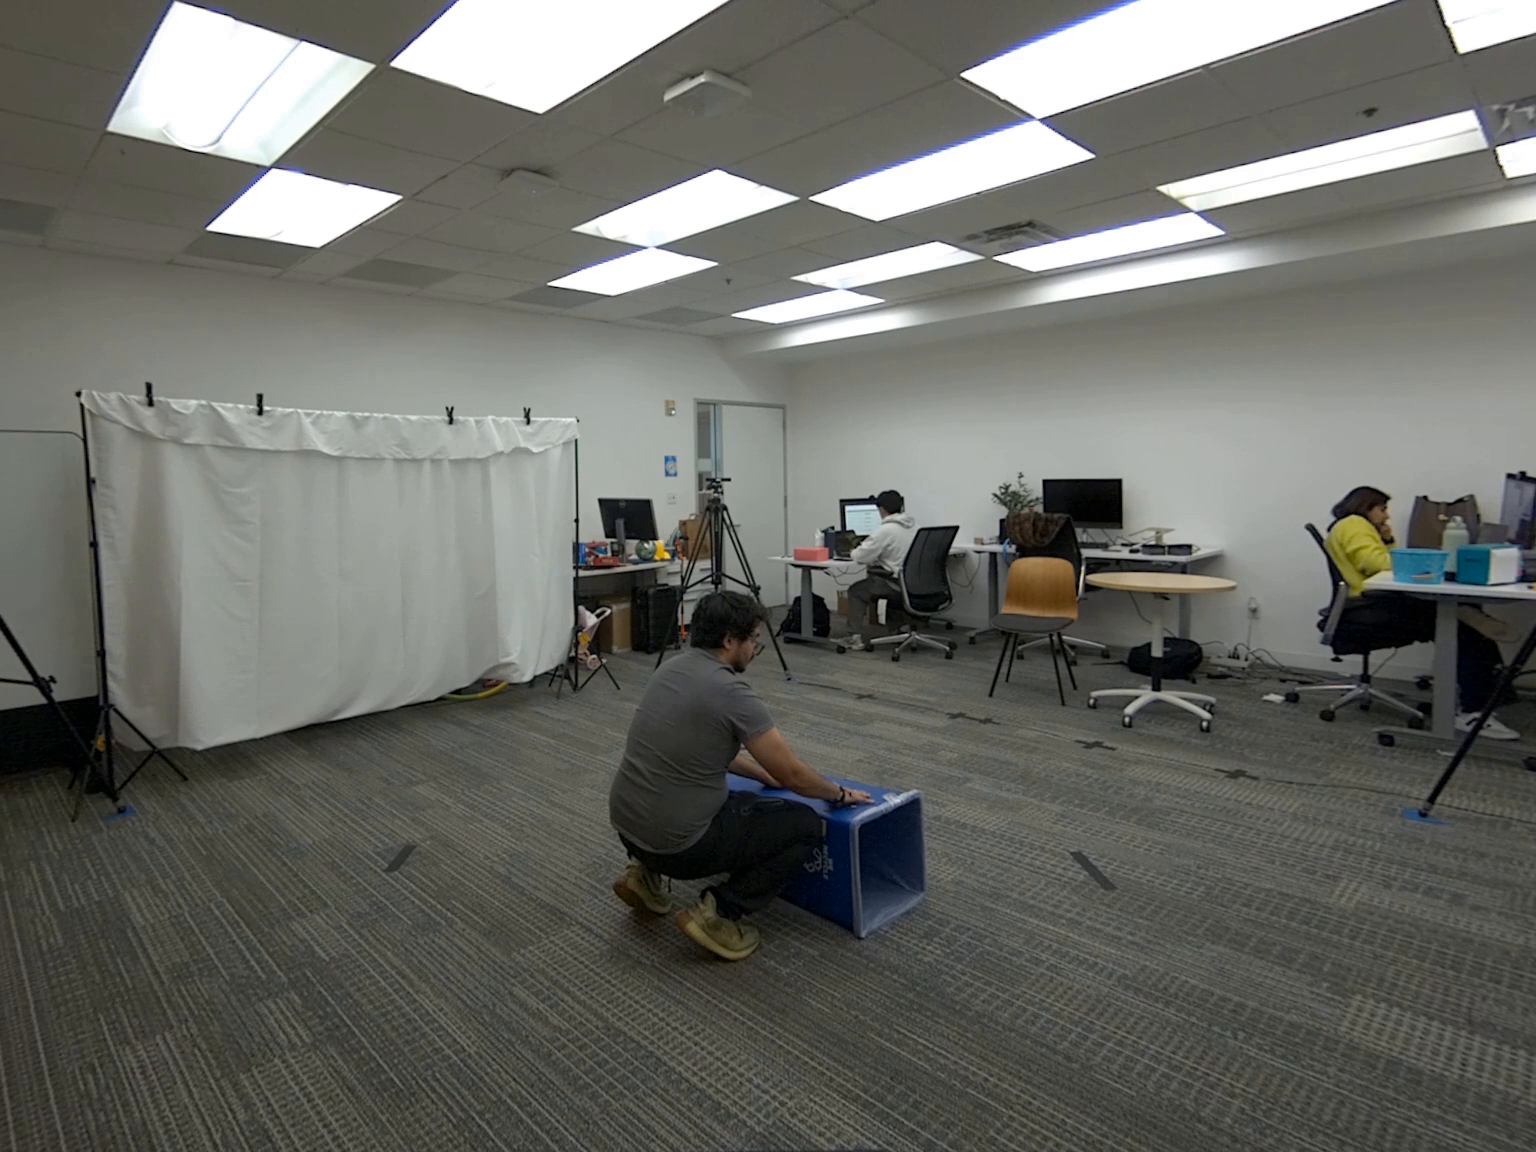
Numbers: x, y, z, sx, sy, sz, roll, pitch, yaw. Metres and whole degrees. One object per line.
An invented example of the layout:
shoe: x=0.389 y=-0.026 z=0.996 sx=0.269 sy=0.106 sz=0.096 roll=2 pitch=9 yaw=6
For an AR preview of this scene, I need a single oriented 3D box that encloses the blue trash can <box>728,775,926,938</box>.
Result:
blue trash can: x=0.139 y=0.885 z=2.950 sx=0.364 sy=0.377 sz=0.735 roll=-6 pitch=6 yaw=-44
